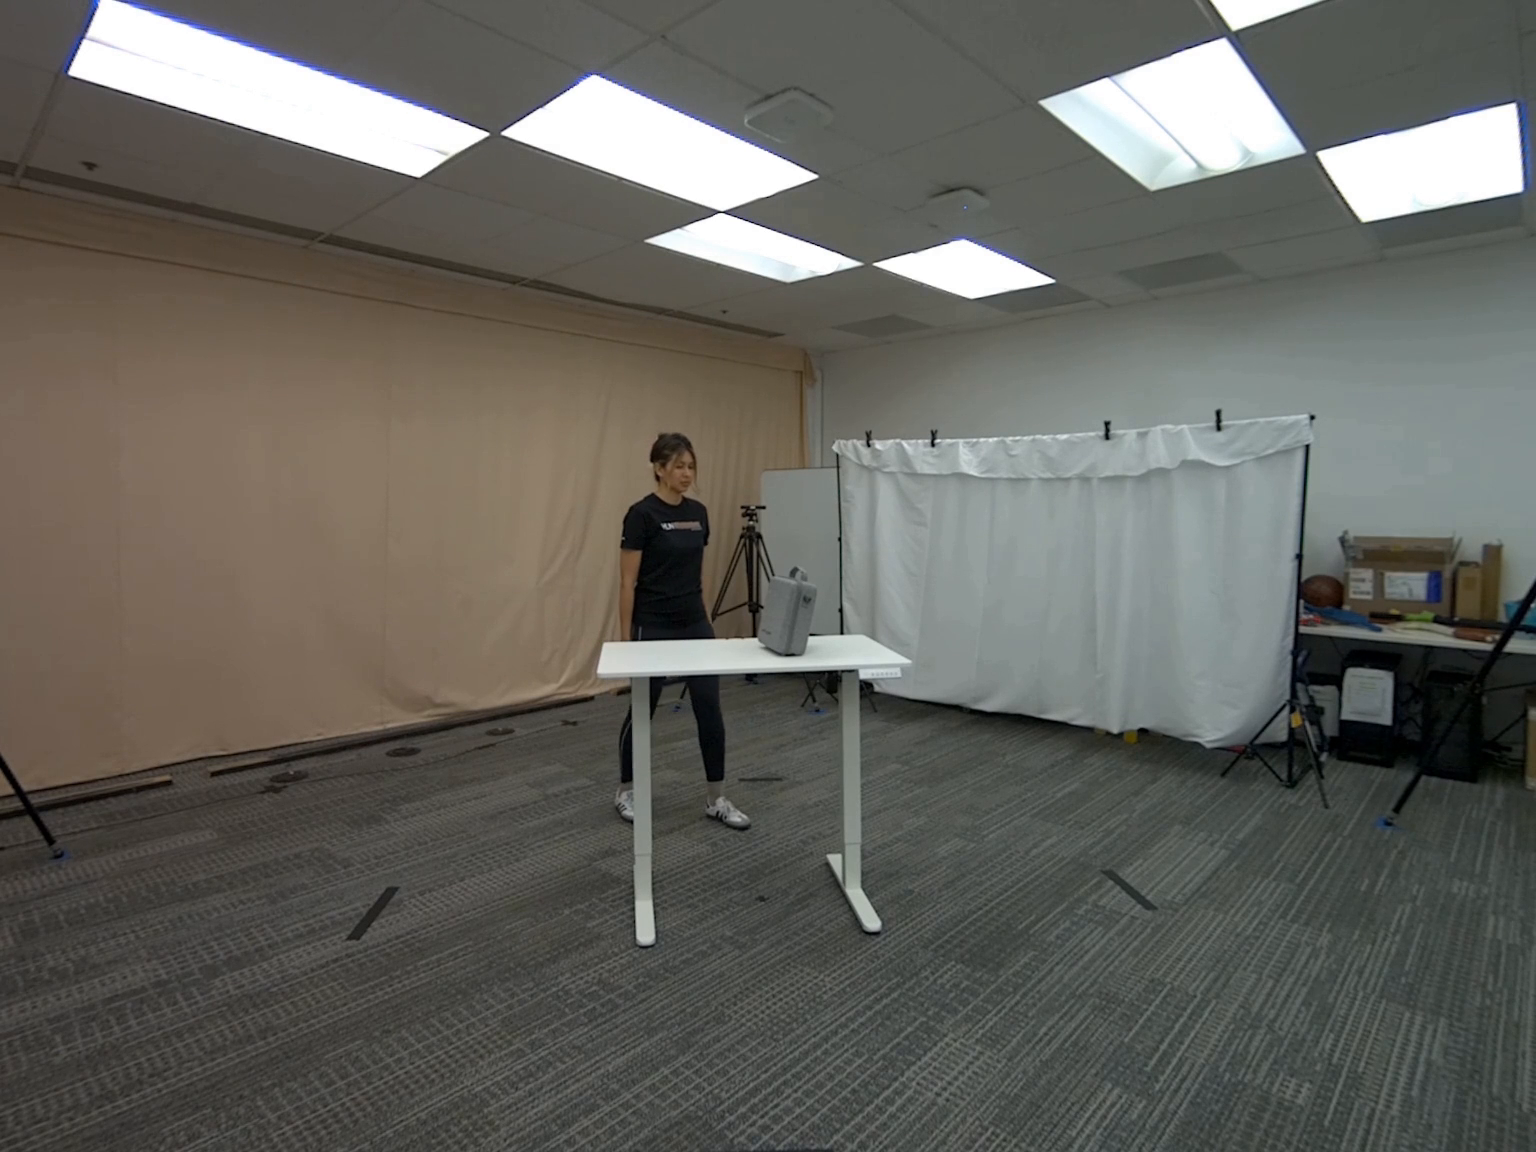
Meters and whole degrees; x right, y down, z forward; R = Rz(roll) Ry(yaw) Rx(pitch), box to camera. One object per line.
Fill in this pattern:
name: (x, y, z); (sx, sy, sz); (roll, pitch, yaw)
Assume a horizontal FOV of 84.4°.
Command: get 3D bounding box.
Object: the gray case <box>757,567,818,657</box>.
gray case: (0.069, 0.133, 2.939); (0.102, 0.260, 0.262); (10, 1, -18)
